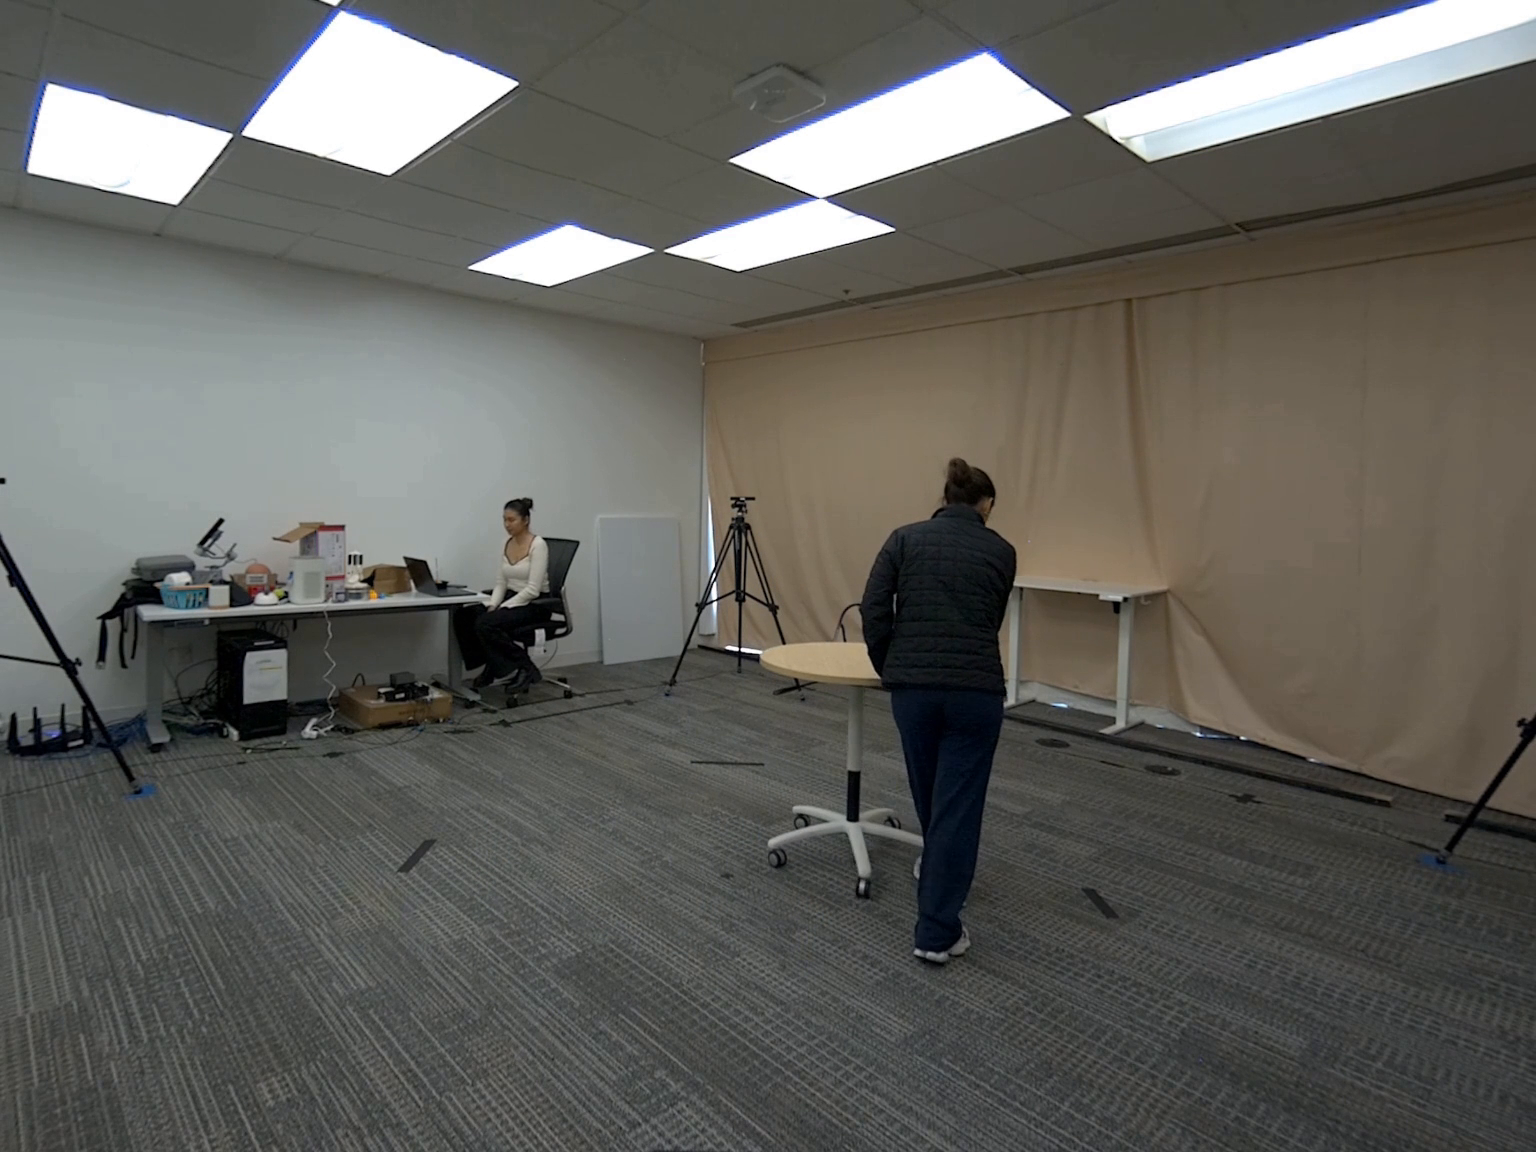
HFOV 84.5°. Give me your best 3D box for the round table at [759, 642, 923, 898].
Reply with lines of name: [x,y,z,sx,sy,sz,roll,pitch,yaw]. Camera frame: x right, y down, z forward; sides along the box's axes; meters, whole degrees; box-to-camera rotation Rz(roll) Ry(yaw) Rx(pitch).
round table: [0.345,0.711,3.277,0.784,0.784,0.788,1,4,-1]
